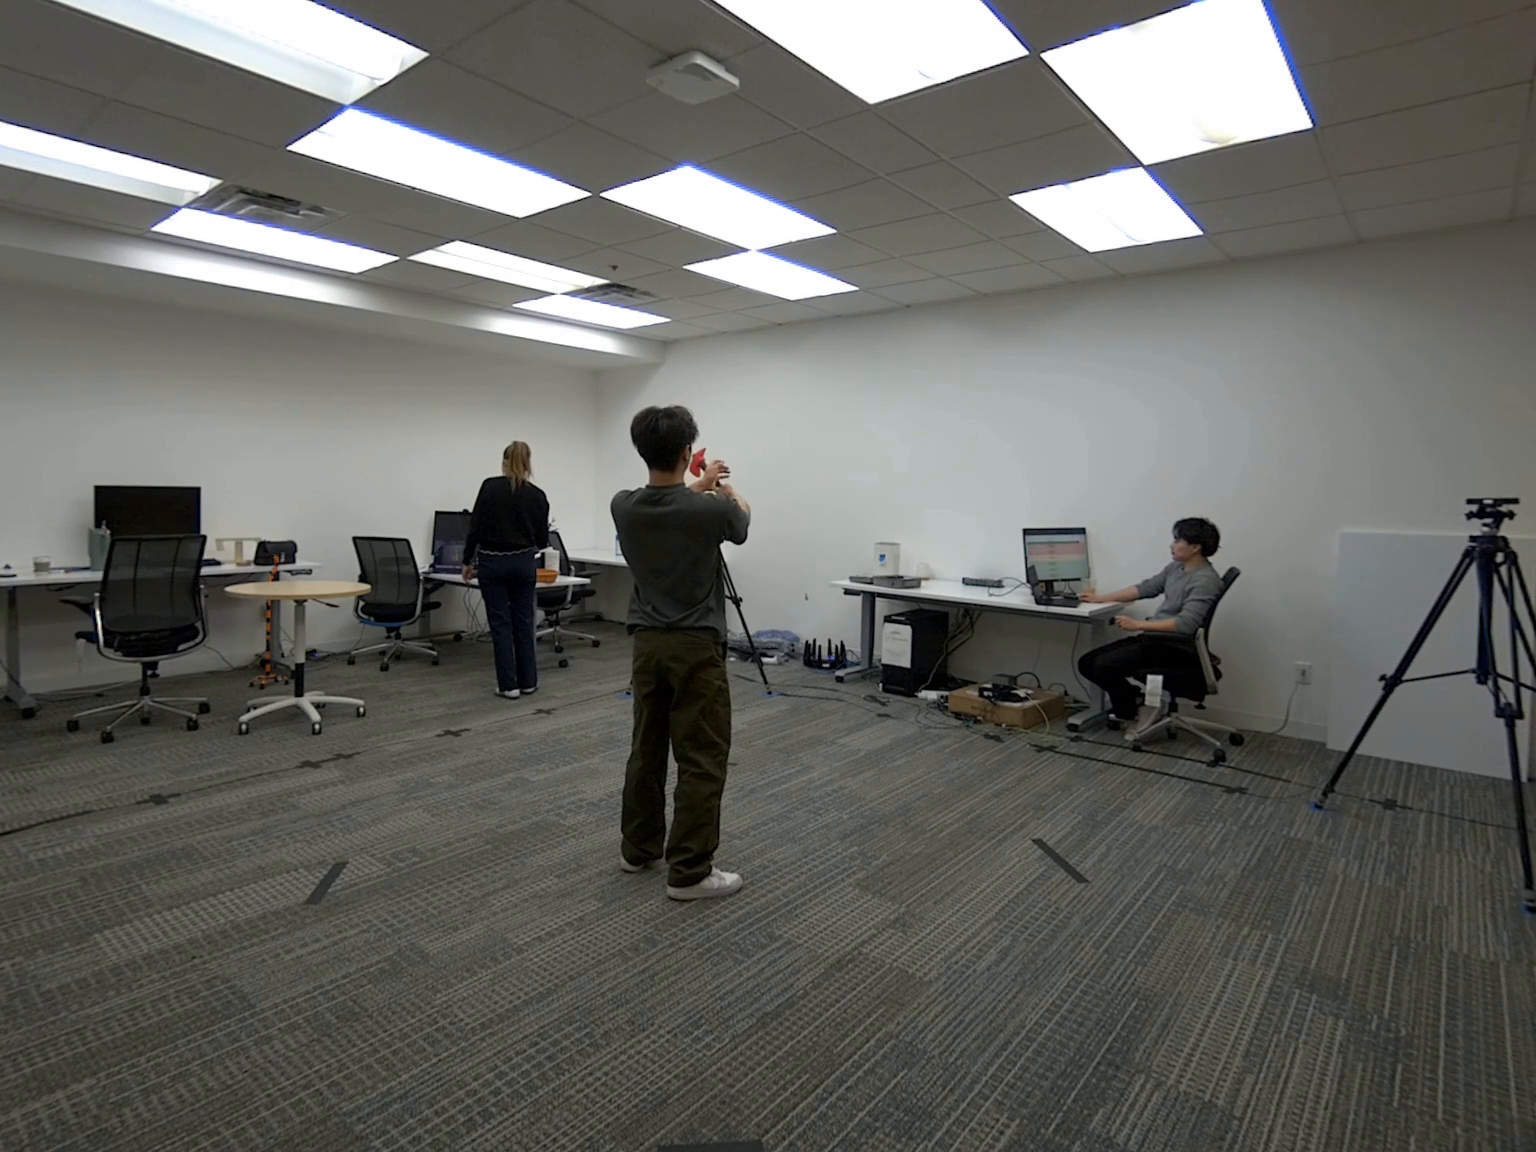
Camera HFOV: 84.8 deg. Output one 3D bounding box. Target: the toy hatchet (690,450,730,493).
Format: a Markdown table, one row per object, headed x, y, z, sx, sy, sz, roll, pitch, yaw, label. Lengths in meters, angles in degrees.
| x | y | z | sx | sy | sz | roll | pitch | yaw | label |
| --- | --- | --- | --- | --- | --- | --- | --- | --- | --- |
| -0.258 | -0.388 | 3.485 | 0.132 | 0.275 | 0.029 | -32 | -16 | 36 | toy hatchet |
